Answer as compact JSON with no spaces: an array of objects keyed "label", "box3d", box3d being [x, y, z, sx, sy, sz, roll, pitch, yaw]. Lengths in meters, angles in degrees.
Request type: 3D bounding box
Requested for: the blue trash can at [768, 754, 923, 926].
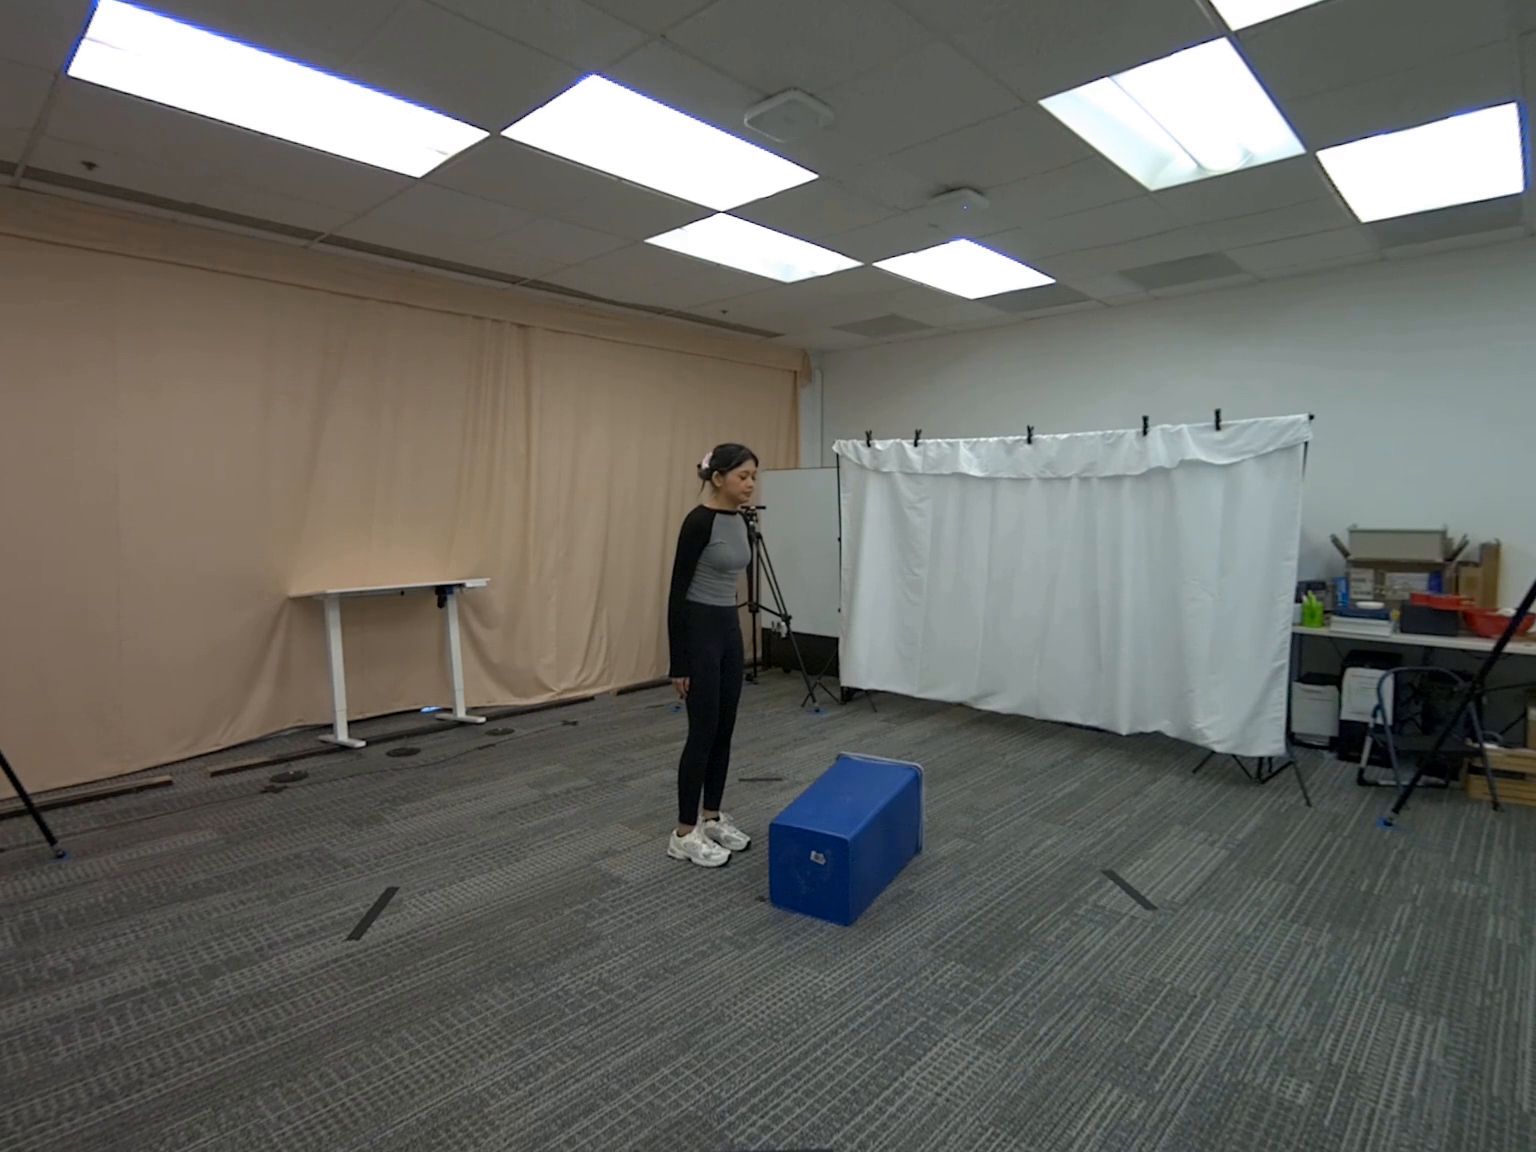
[{"label":"blue trash can","box3d":[0.297,0.958,3.144,0.385,0.377,0.696,3,7,29]}]
